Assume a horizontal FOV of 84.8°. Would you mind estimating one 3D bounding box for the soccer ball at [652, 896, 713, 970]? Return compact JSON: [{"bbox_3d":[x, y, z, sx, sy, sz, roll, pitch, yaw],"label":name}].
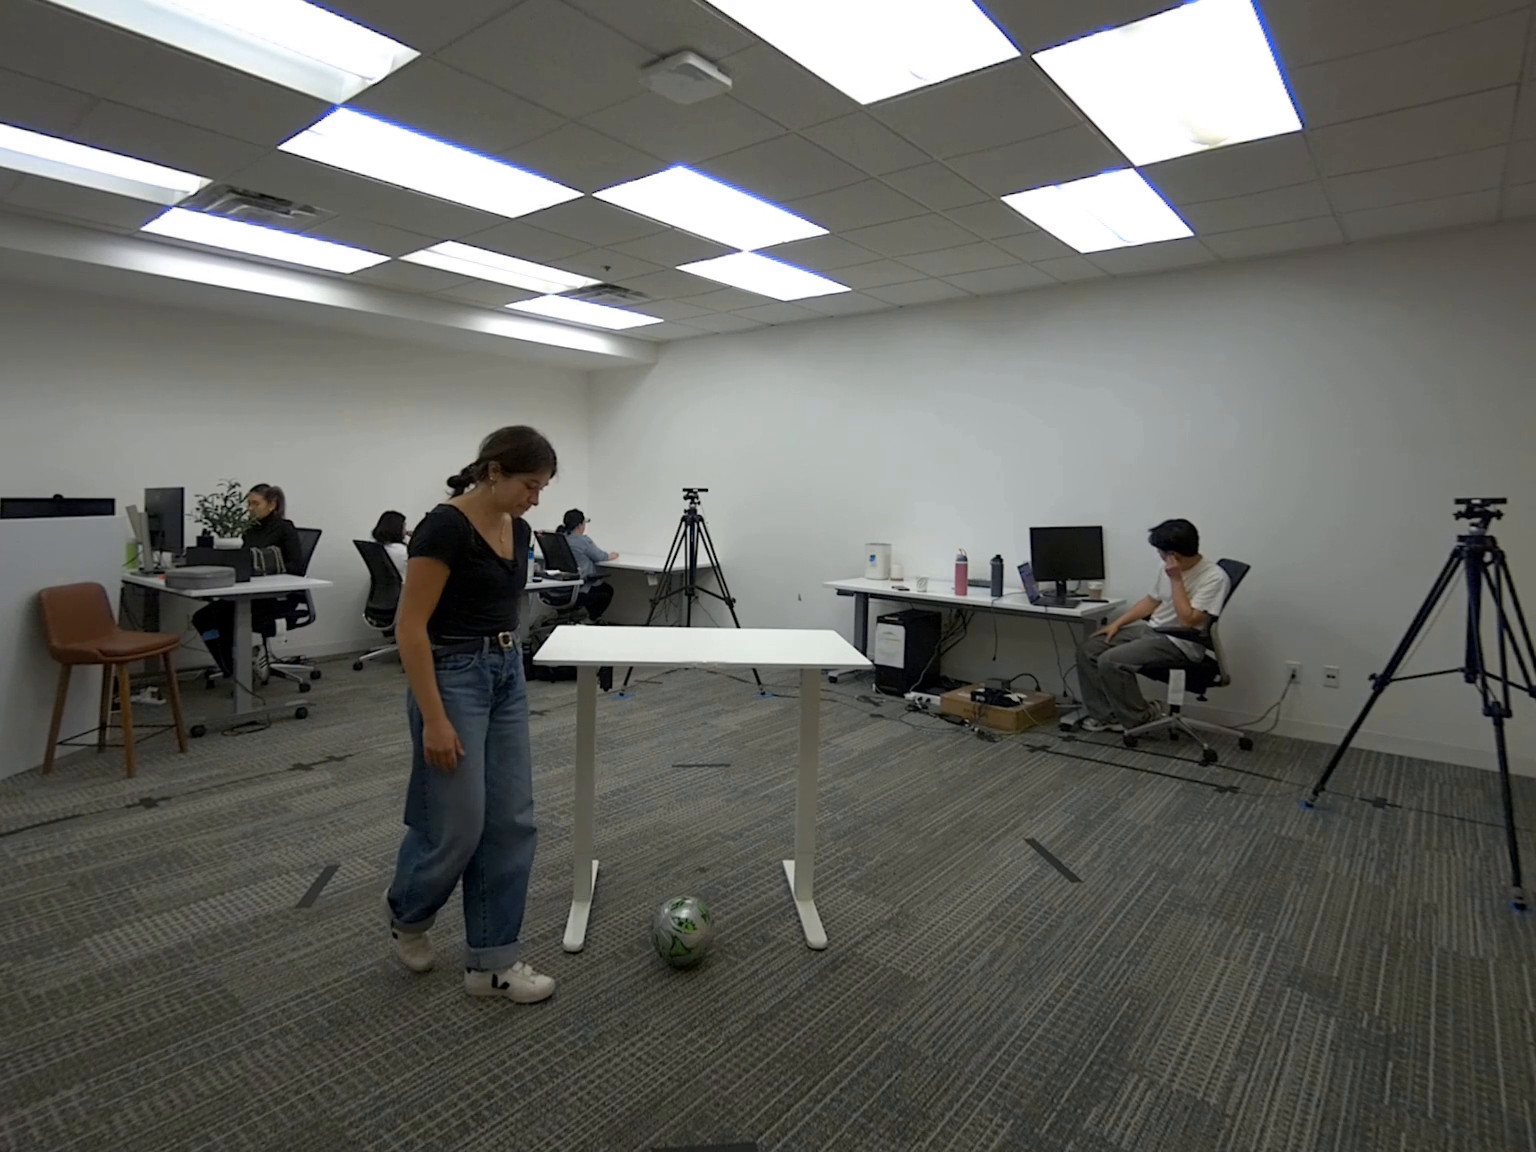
[{"bbox_3d":[-0.251,1.034,2.494,0.187,0.187,0.188,1,4,-2],"label":"soccer ball"}]
